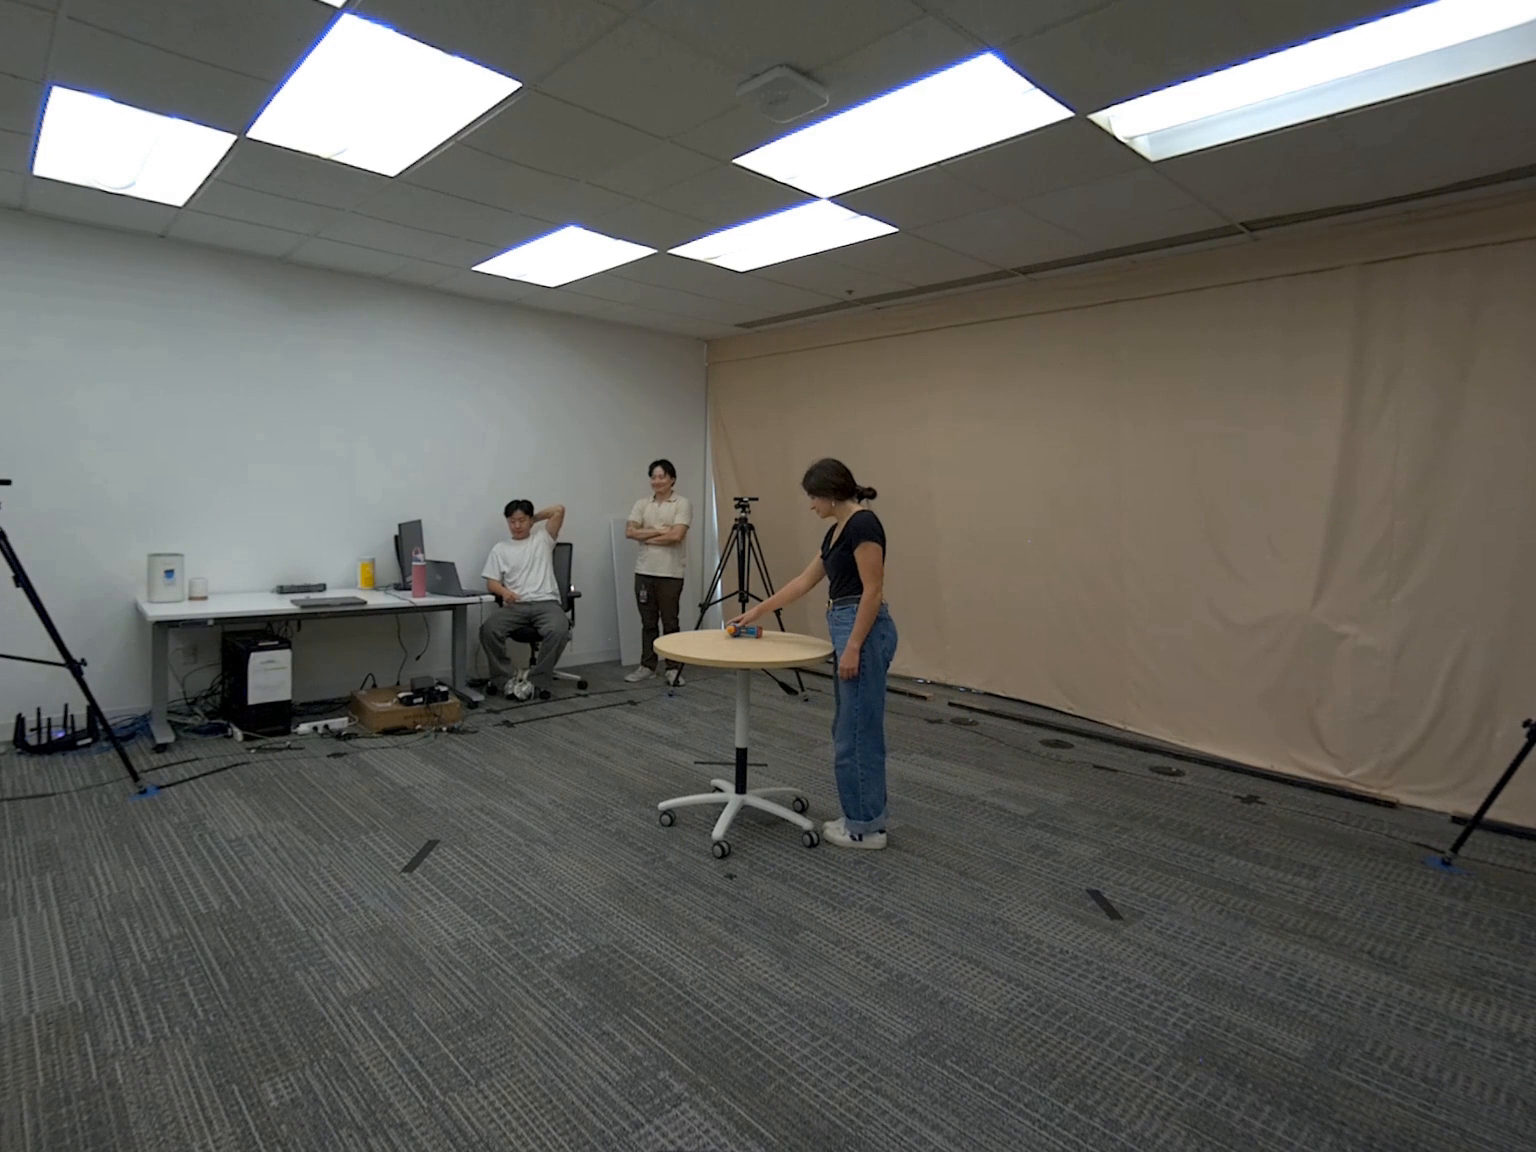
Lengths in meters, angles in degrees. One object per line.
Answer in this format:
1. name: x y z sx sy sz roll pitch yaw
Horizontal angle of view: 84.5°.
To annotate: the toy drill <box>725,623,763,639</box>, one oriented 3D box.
1. toy drill: -0.114 0.241 3.712 0.148 0.061 0.167 4 -4 17
